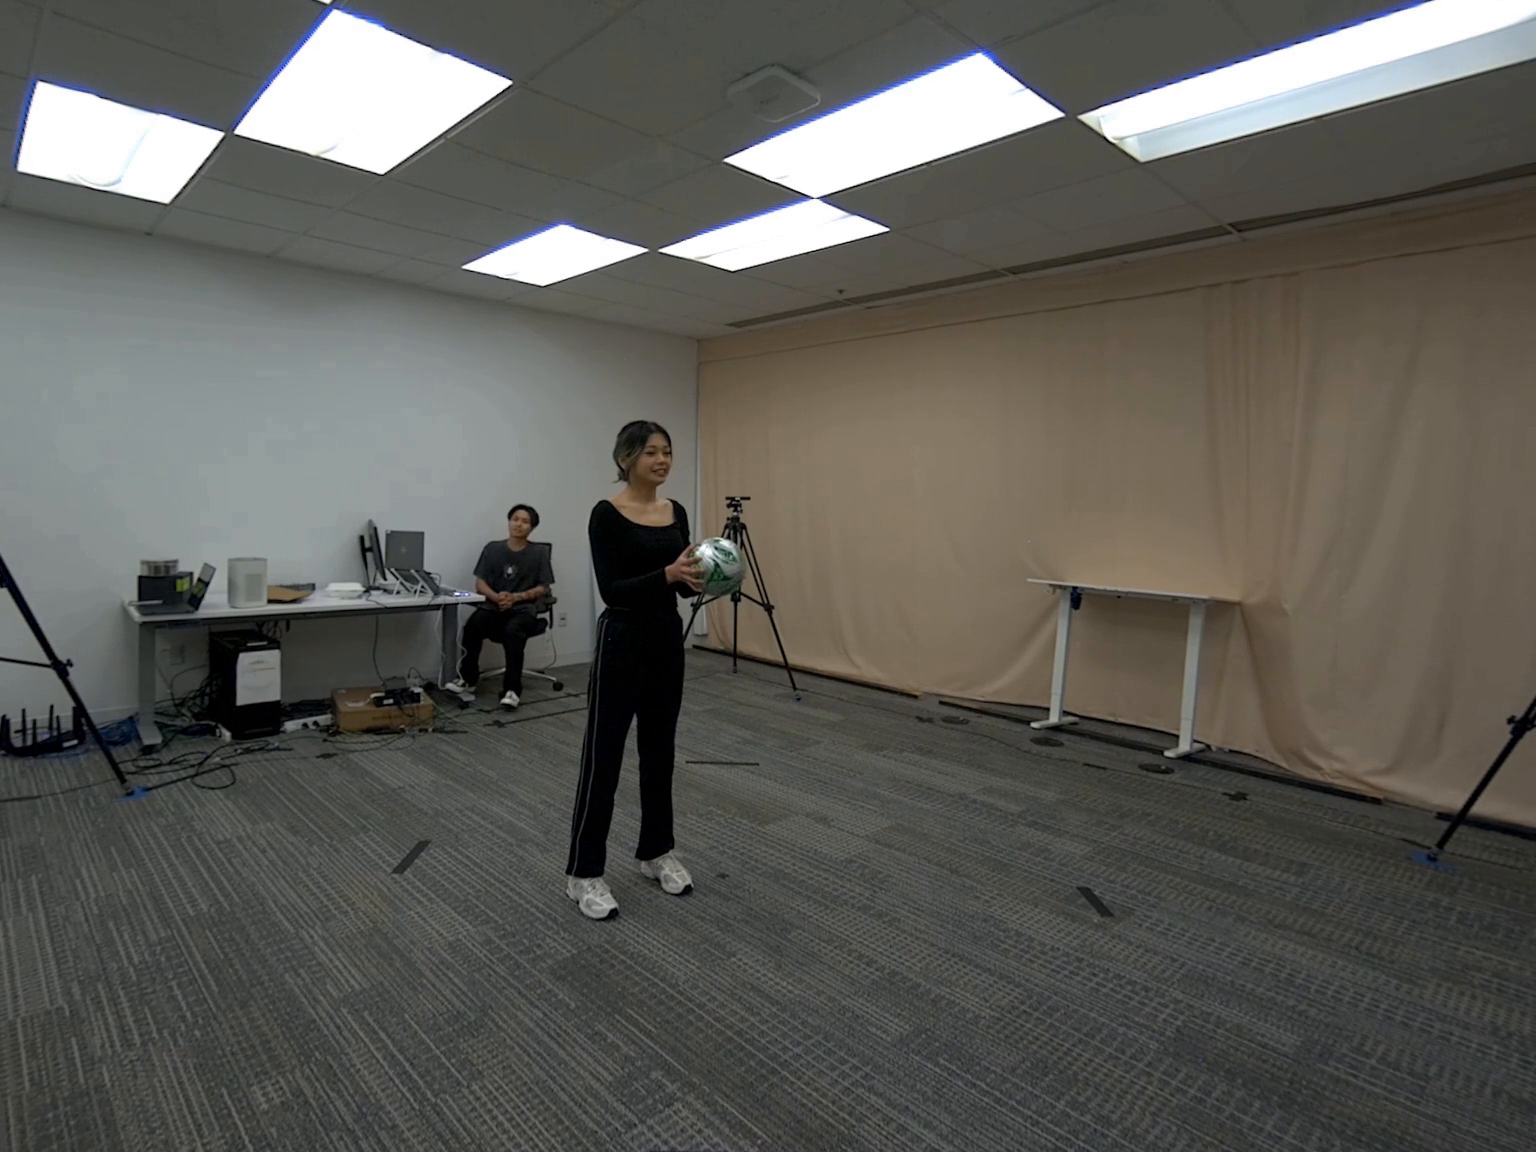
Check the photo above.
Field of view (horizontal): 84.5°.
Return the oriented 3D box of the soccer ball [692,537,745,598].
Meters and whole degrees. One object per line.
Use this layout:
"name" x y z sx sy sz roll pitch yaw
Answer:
"soccer ball" -0.182 -0.026 2.648 0.187 0.187 0.188 1 4 -1
